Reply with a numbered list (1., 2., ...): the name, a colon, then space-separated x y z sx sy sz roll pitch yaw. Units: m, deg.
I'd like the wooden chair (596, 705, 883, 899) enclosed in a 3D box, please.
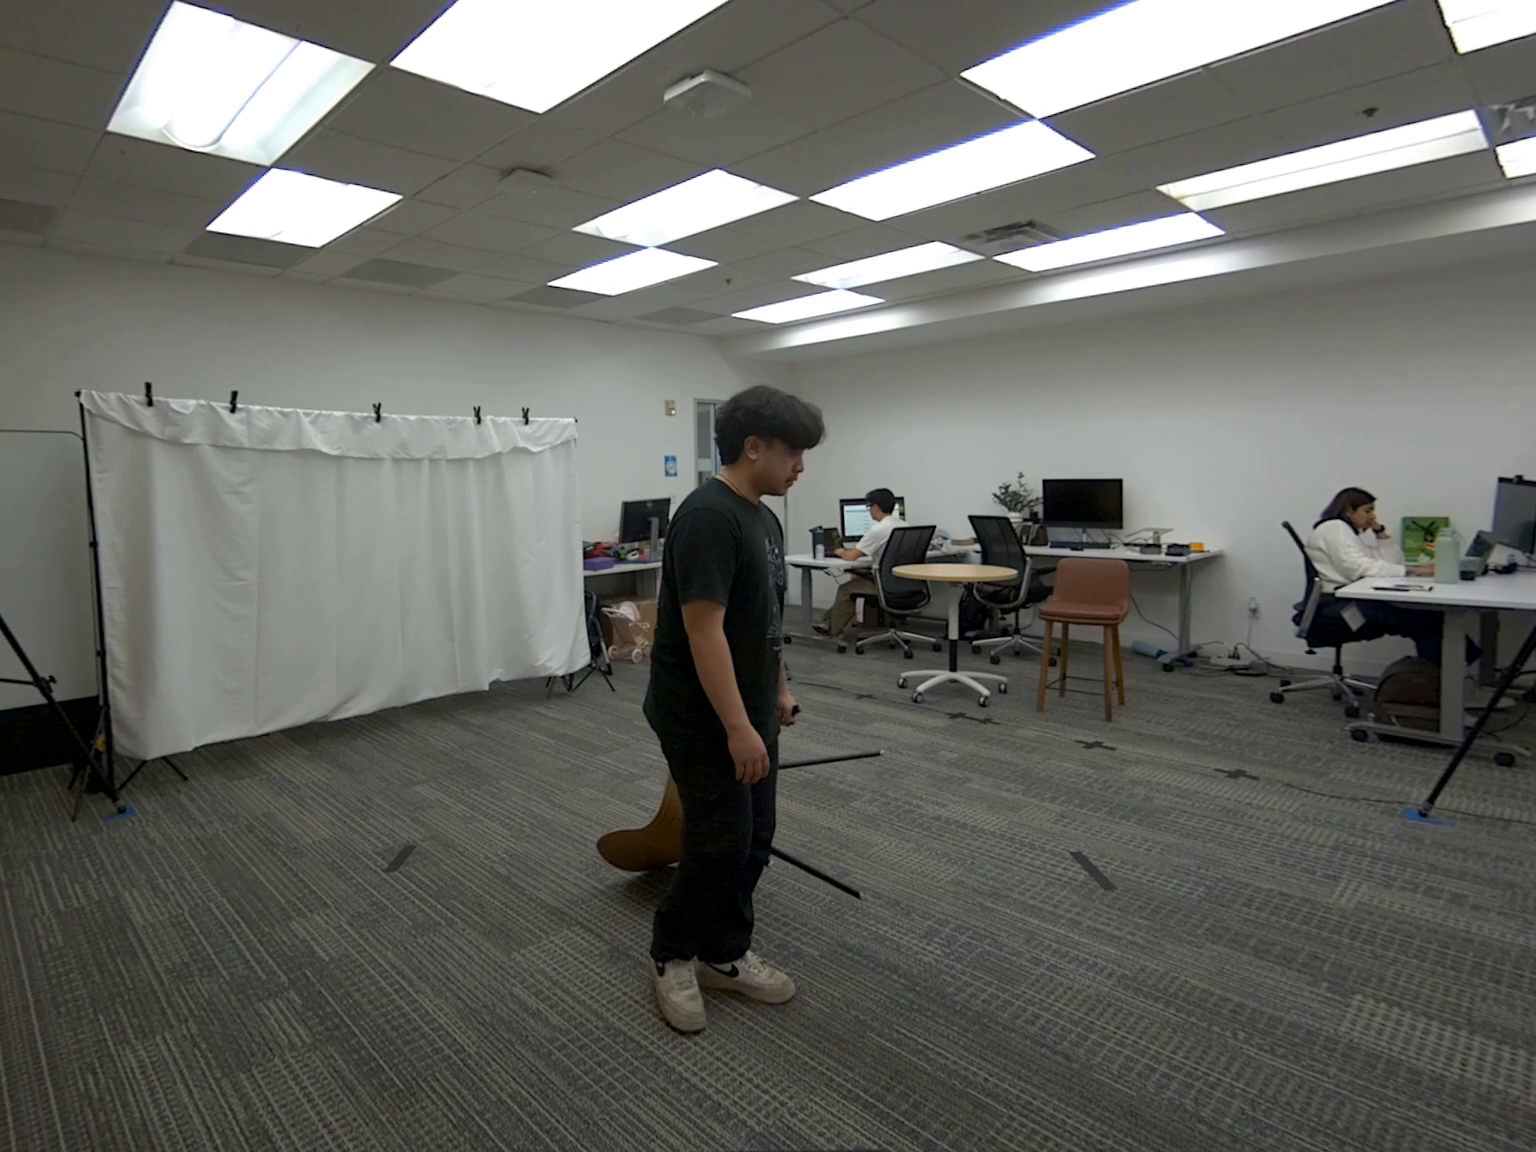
1. wooden chair: -0.125 0.723 2.818 0.896 0.532 0.460 -14 -35 39
